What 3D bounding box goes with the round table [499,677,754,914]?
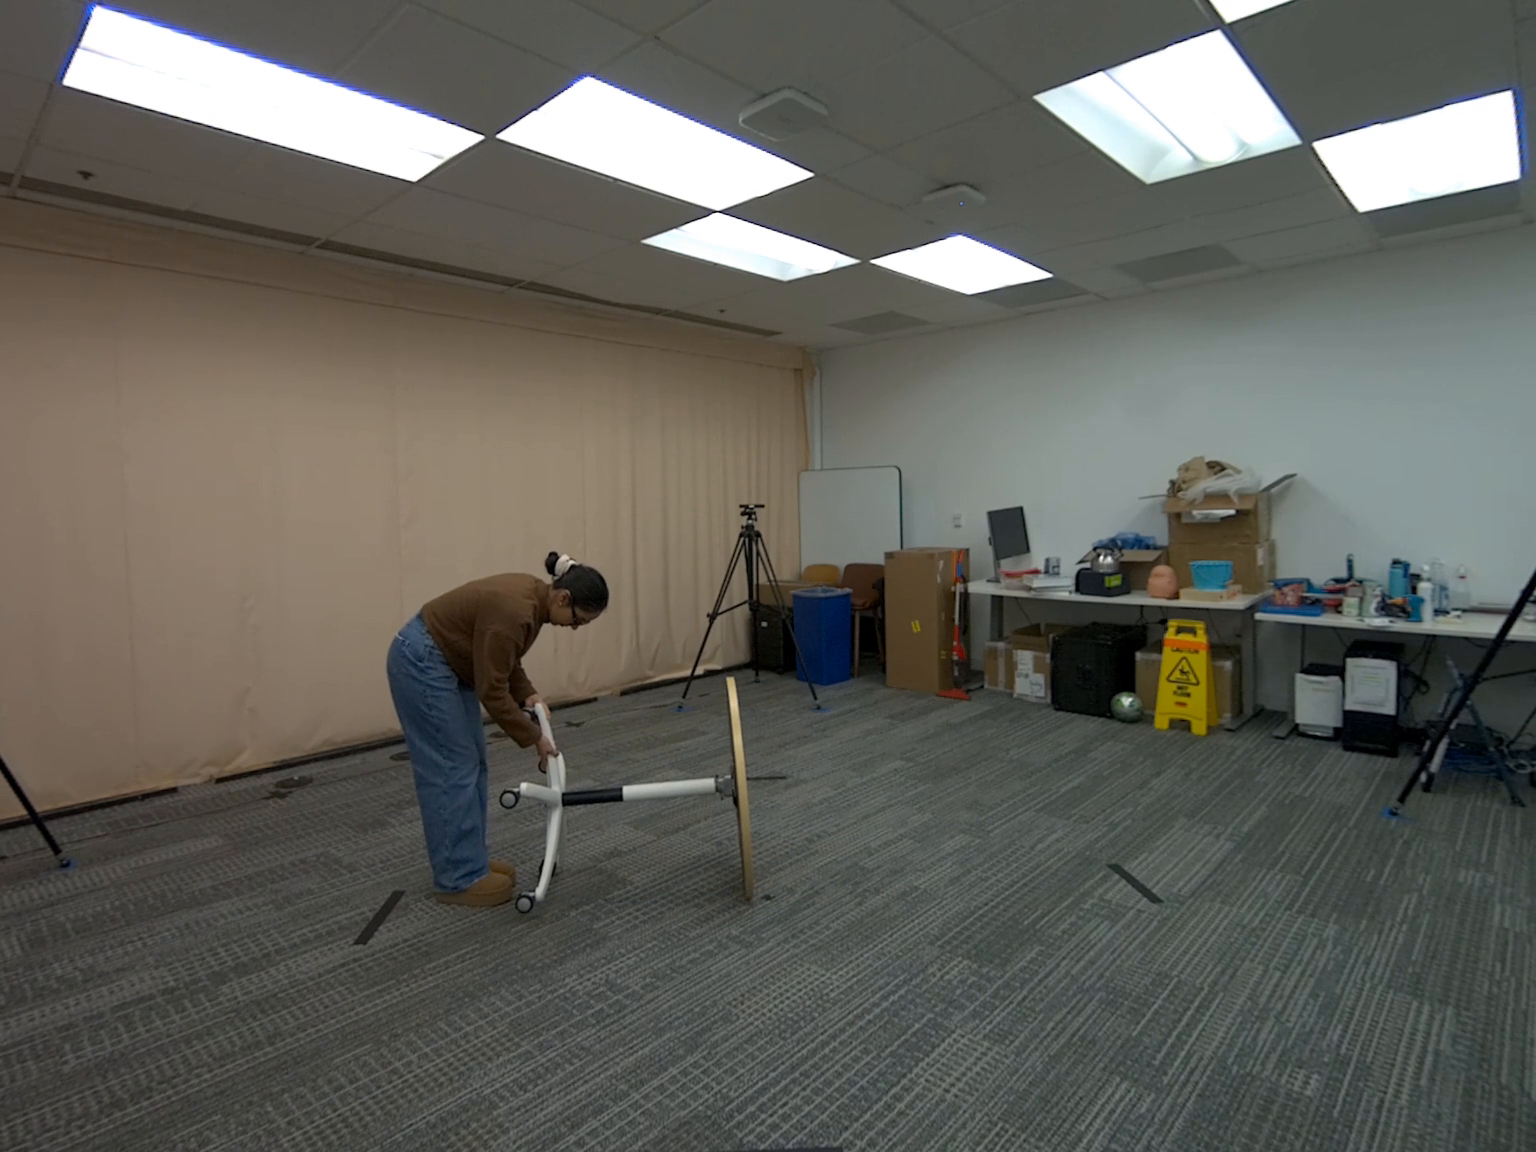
[{"bbox_3d":[-0.482,0.786,3.039,0.793,0.762,0.767,-4,4,-2],"label":"round table"}]
